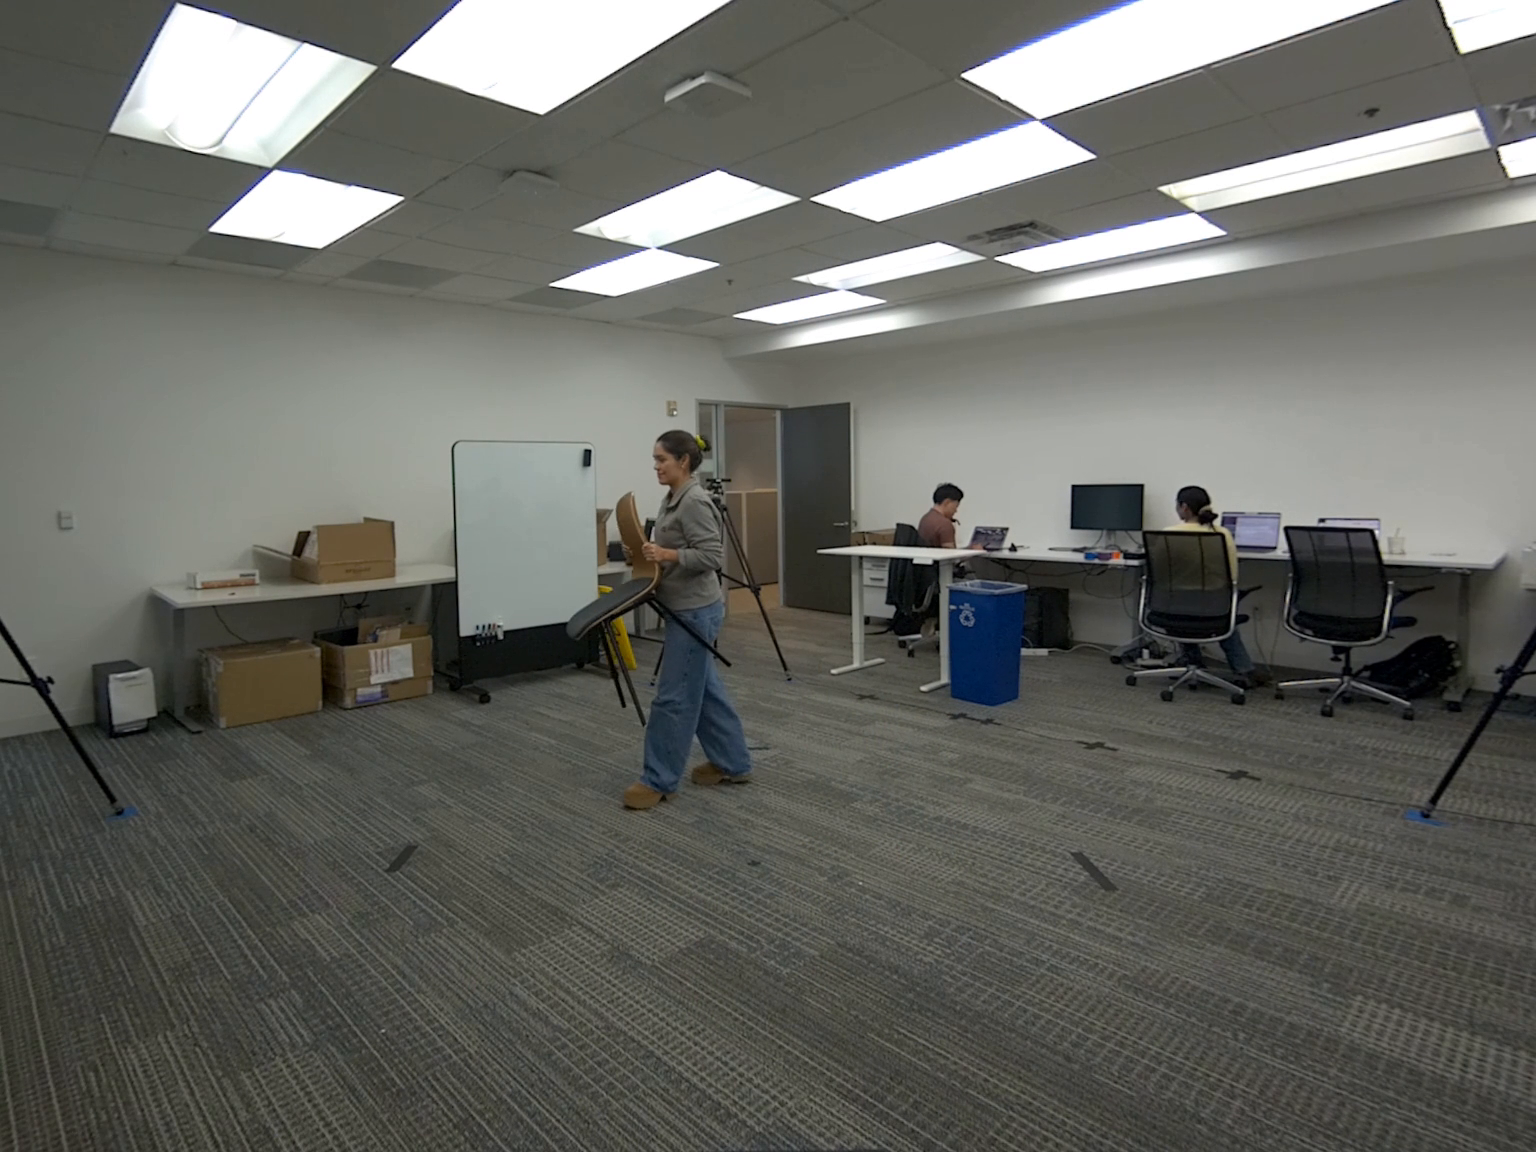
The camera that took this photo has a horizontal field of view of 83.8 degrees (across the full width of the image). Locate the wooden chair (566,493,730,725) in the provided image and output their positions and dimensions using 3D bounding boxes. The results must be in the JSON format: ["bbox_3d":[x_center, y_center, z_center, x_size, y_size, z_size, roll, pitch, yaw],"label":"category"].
[{"bbox_3d":[-0.625,0.133,3.701,0.519,0.869,0.486,-28,8,-18],"label":"wooden chair"}]
